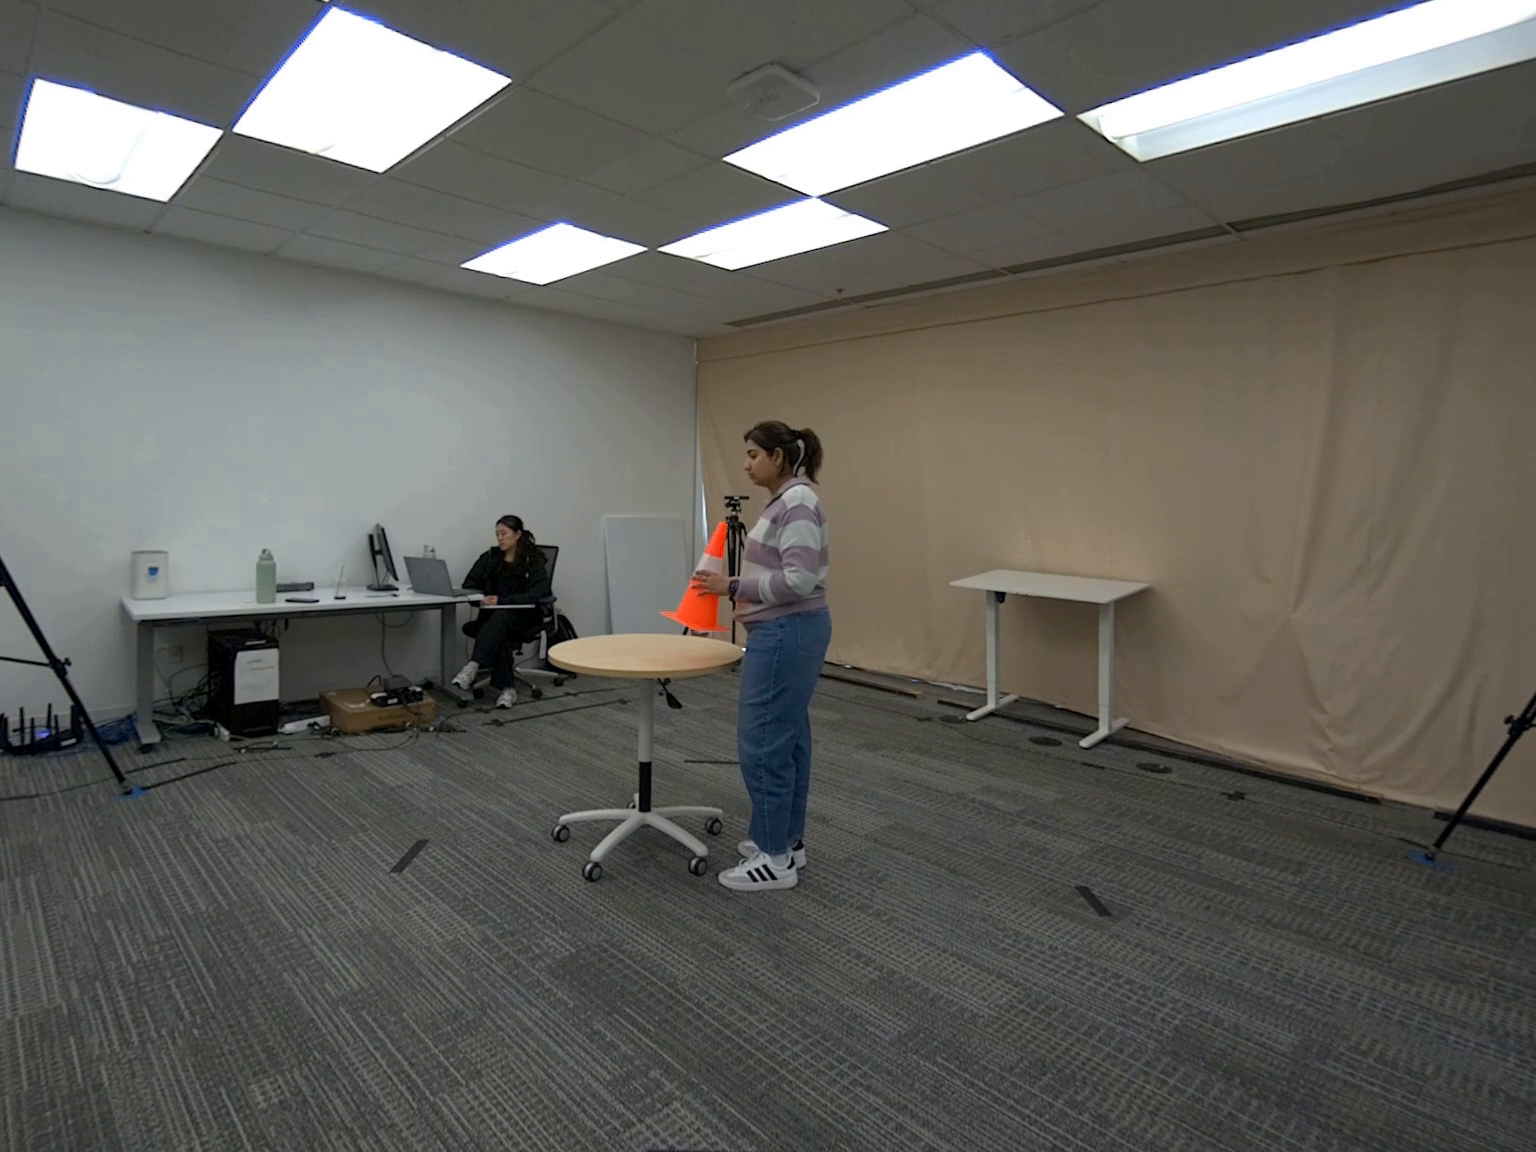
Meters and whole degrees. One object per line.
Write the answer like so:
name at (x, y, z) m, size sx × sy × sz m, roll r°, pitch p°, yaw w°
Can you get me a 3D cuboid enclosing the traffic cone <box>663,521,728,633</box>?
traffic cone at (-0.218, -0.012, 3.084) m, size 0.209 × 0.382 × 0.199 m, roll 22°, pitch 8°, yaw 41°
